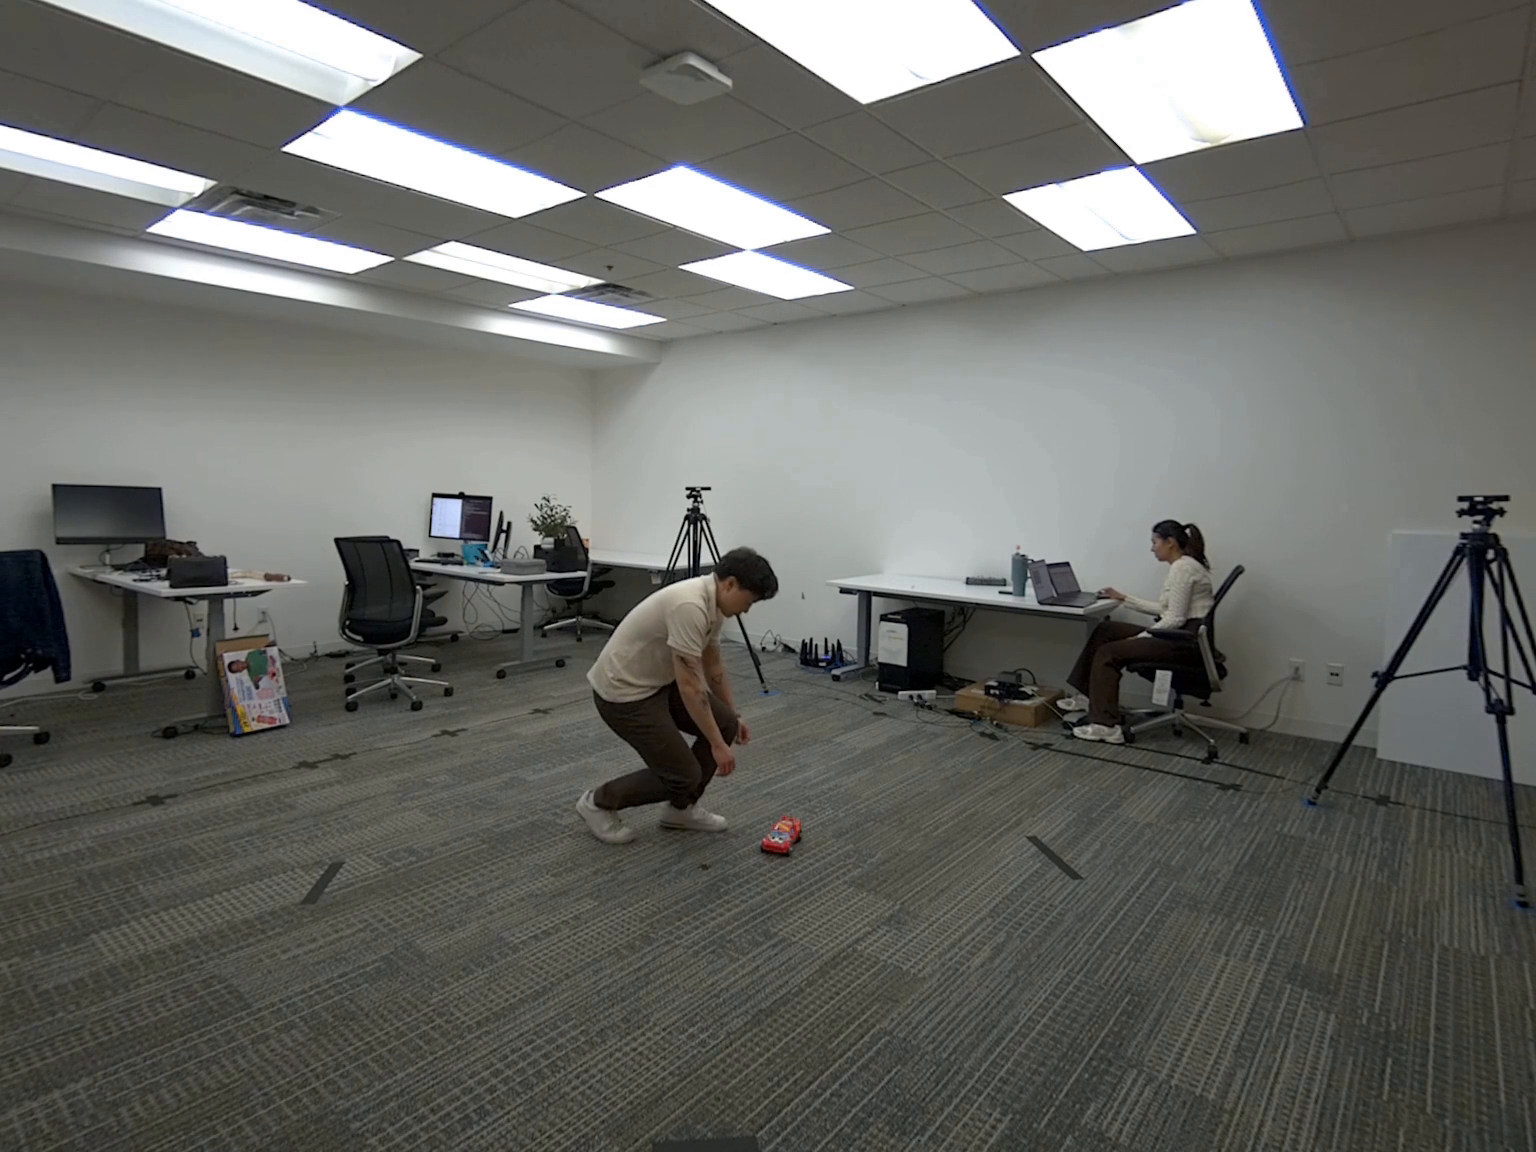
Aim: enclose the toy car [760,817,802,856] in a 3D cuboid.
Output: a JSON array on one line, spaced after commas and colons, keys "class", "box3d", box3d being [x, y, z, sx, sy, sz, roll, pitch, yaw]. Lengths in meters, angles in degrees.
[{"class": "toy car", "box3d": [0.053, 1.019, 3.329, 0.133, 0.082, 0.252, 4, 15, 20]}]
